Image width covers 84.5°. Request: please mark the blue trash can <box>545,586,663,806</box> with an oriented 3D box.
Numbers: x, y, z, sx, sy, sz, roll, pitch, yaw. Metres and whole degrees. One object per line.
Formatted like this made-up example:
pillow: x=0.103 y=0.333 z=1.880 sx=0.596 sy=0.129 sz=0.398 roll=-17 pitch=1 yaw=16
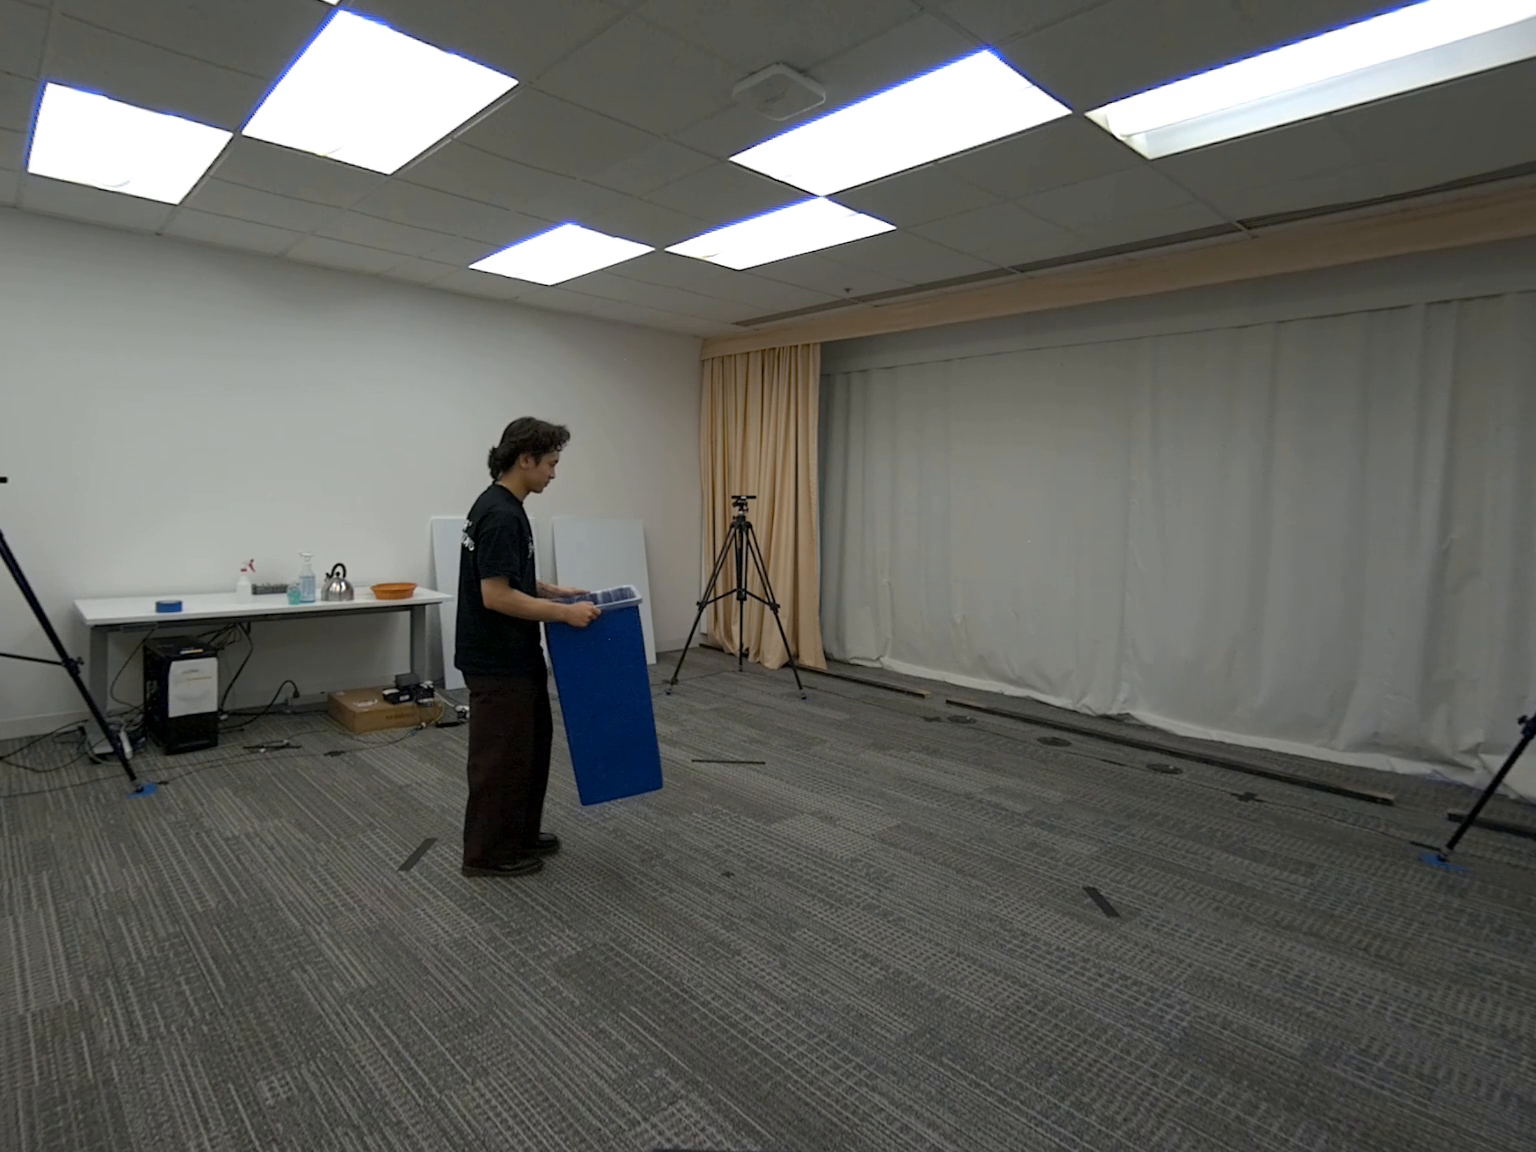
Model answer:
blue trash can: x=-0.618 y=0.442 z=3.139 sx=0.375 sy=0.710 sz=0.379 roll=-10 pitch=6 yaw=-13
